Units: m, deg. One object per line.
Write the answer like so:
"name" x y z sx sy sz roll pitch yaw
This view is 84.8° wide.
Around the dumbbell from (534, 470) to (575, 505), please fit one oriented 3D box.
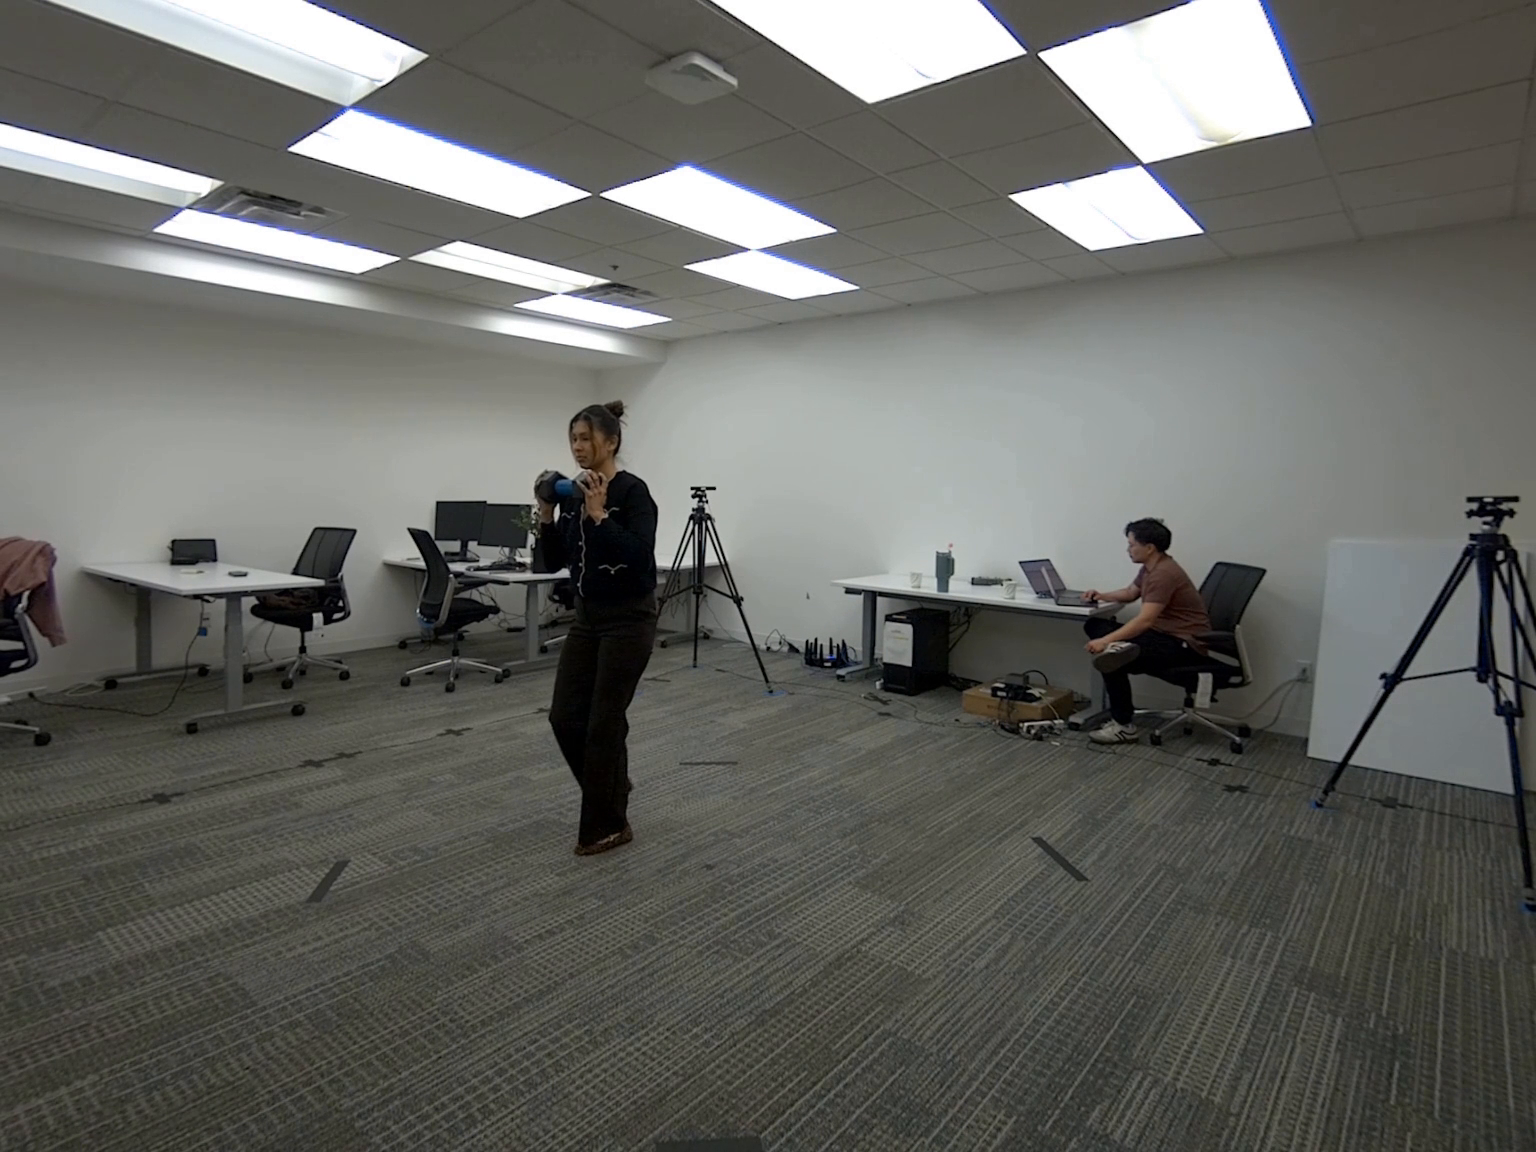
"dumbbell" -0.758 -0.333 3.166 0.303 0.110 0.118 5 -16 37
